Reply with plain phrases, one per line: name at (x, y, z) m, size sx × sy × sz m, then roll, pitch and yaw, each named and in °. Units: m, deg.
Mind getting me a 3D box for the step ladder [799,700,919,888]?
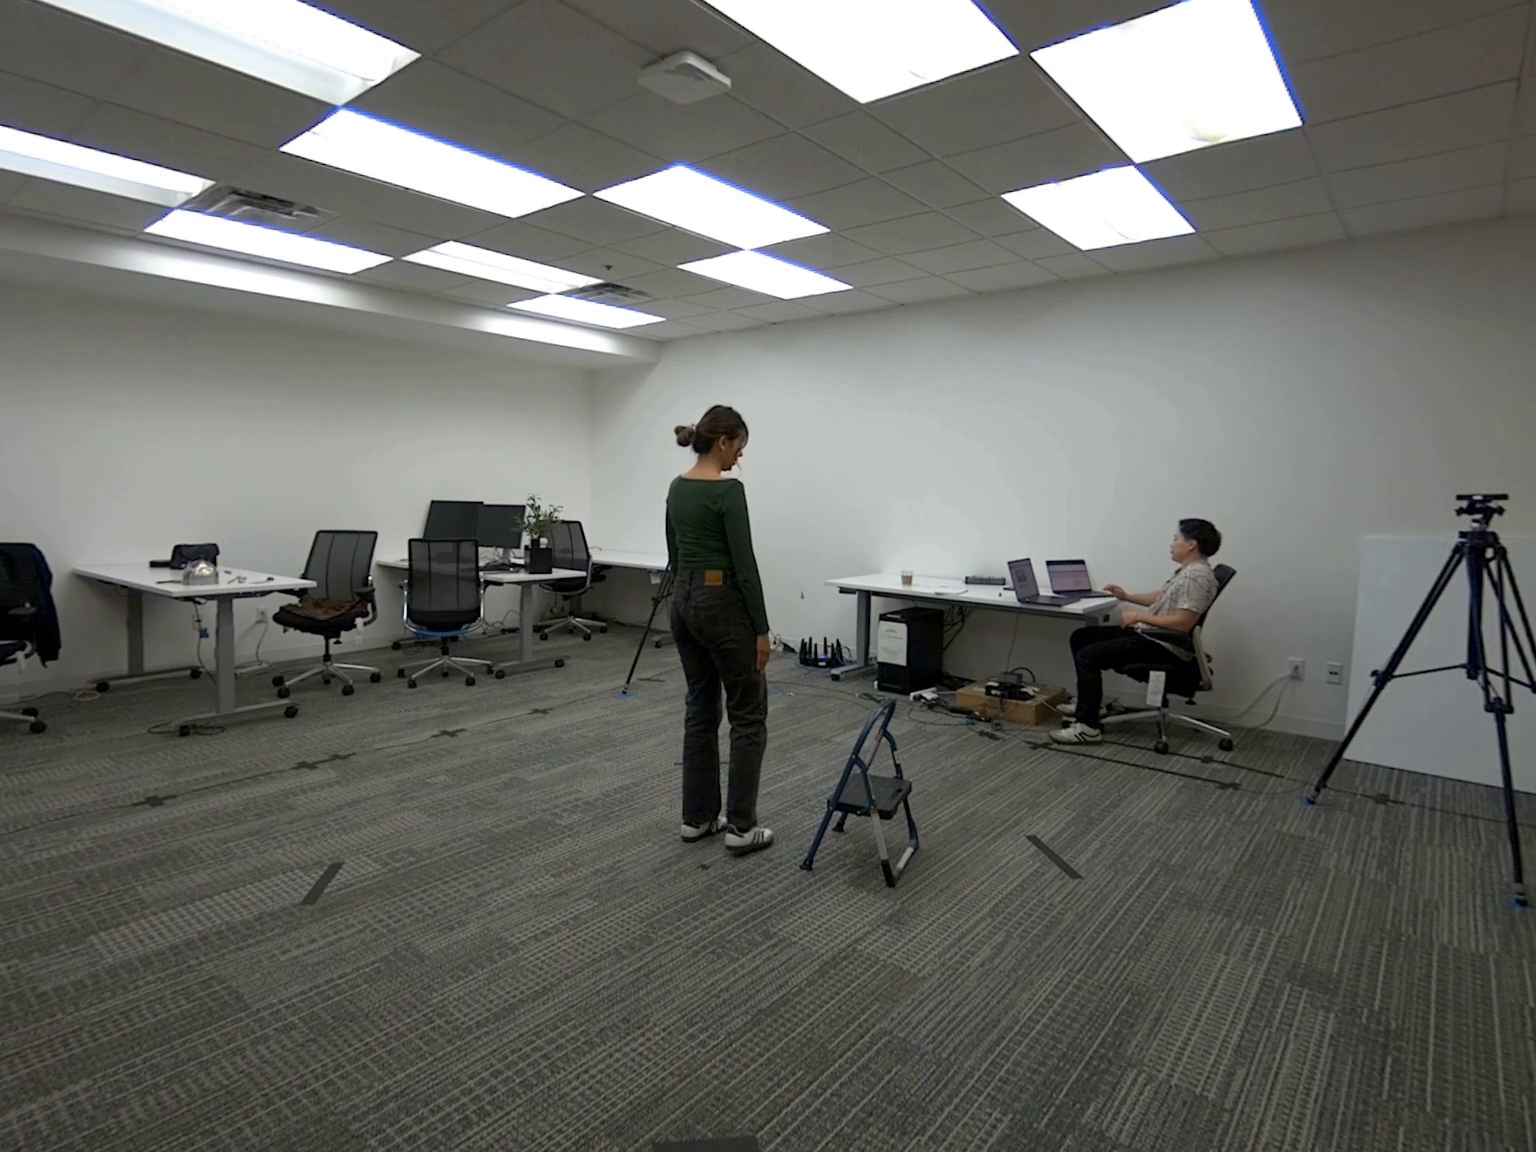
step ladder at (0.355, 0.761, 3.215) m, size 0.358 × 0.604 × 0.422 m, roll 2°, pitch 4°, yaw 23°
